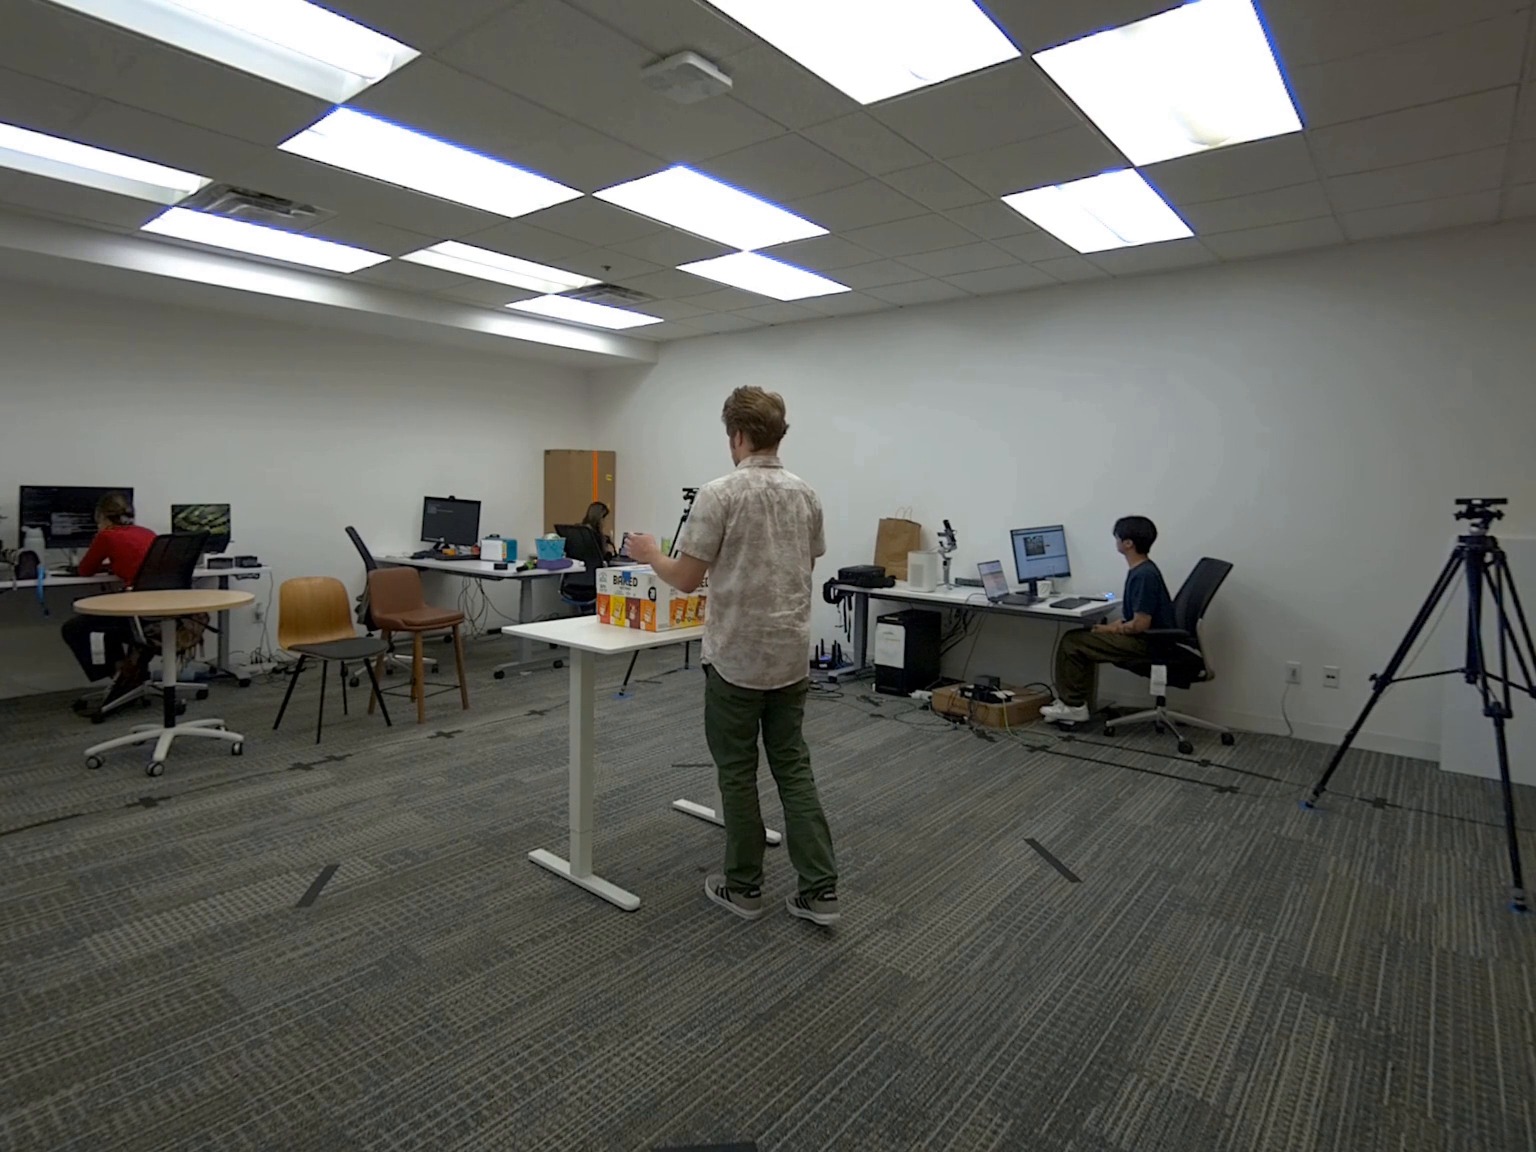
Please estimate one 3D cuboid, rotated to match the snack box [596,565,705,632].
[{"bbox_3d":[-0.404,0.068,3.234,0.352,0.205,0.393,5,7,41],"label":"snack box"}]
